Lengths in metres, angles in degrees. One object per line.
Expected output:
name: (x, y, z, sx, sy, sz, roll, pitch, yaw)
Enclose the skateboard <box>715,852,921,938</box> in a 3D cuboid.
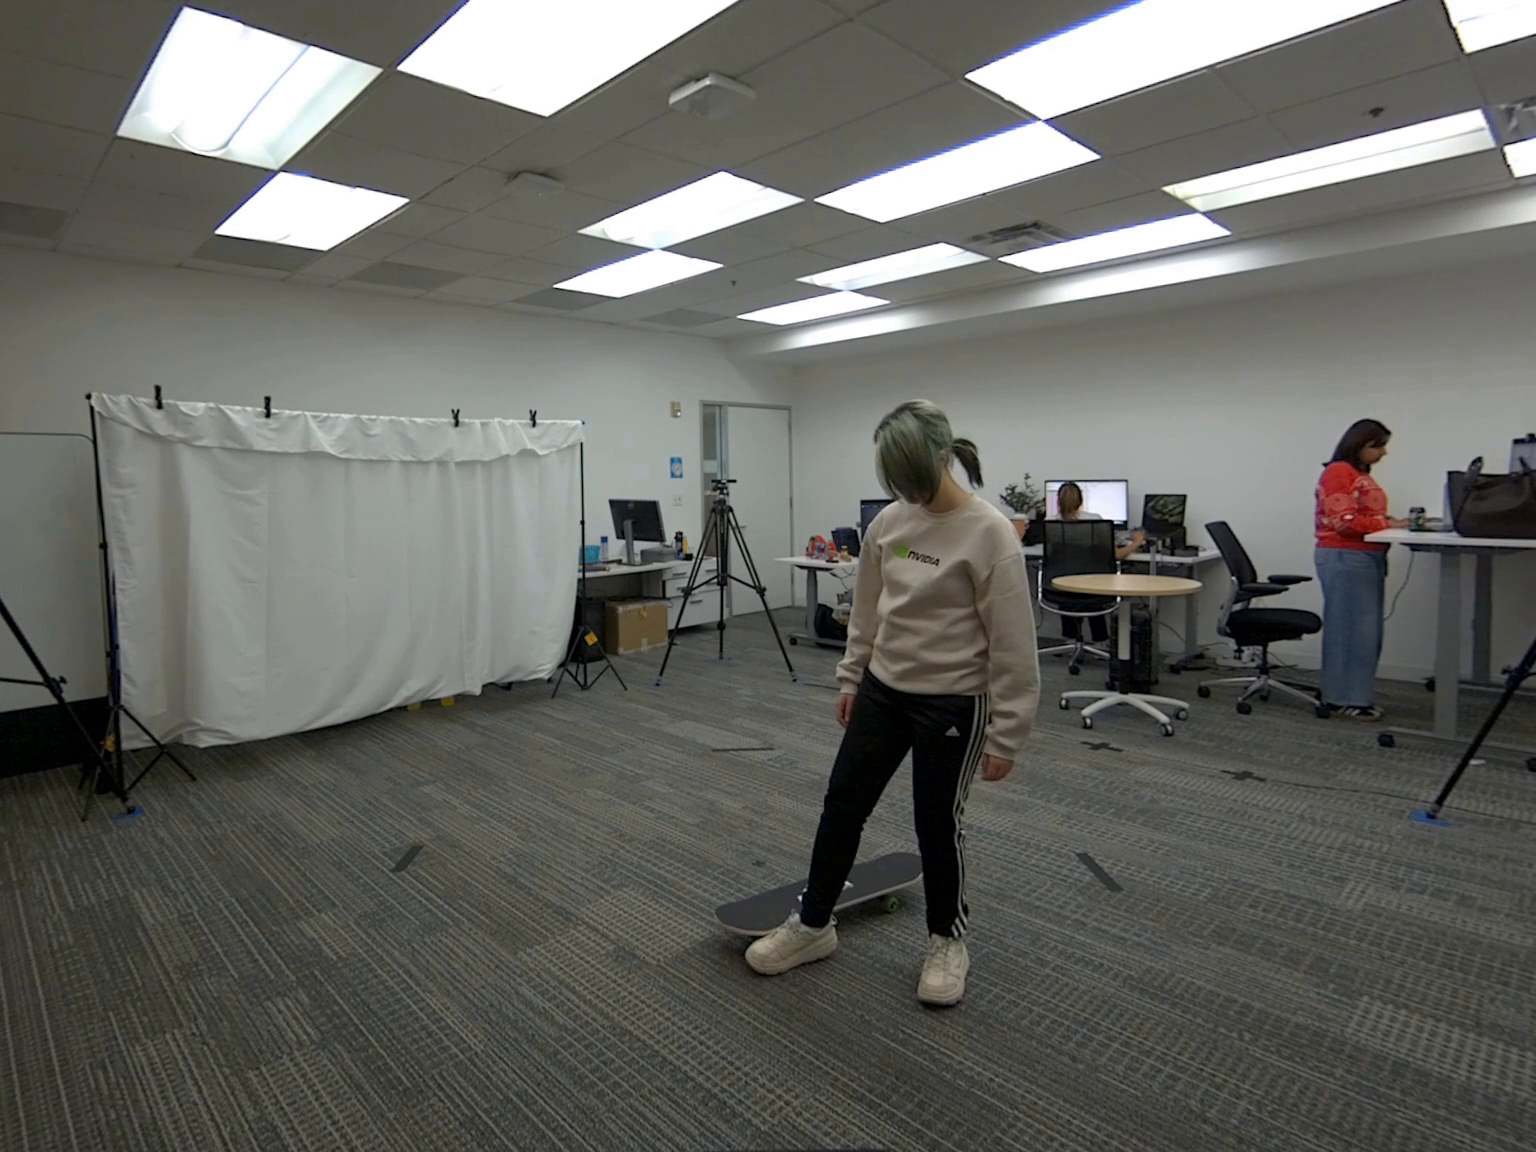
skateboard: (0.185, 1.029, 2.705, 0.767, 0.110, 0.199, -5, 7, -31)
